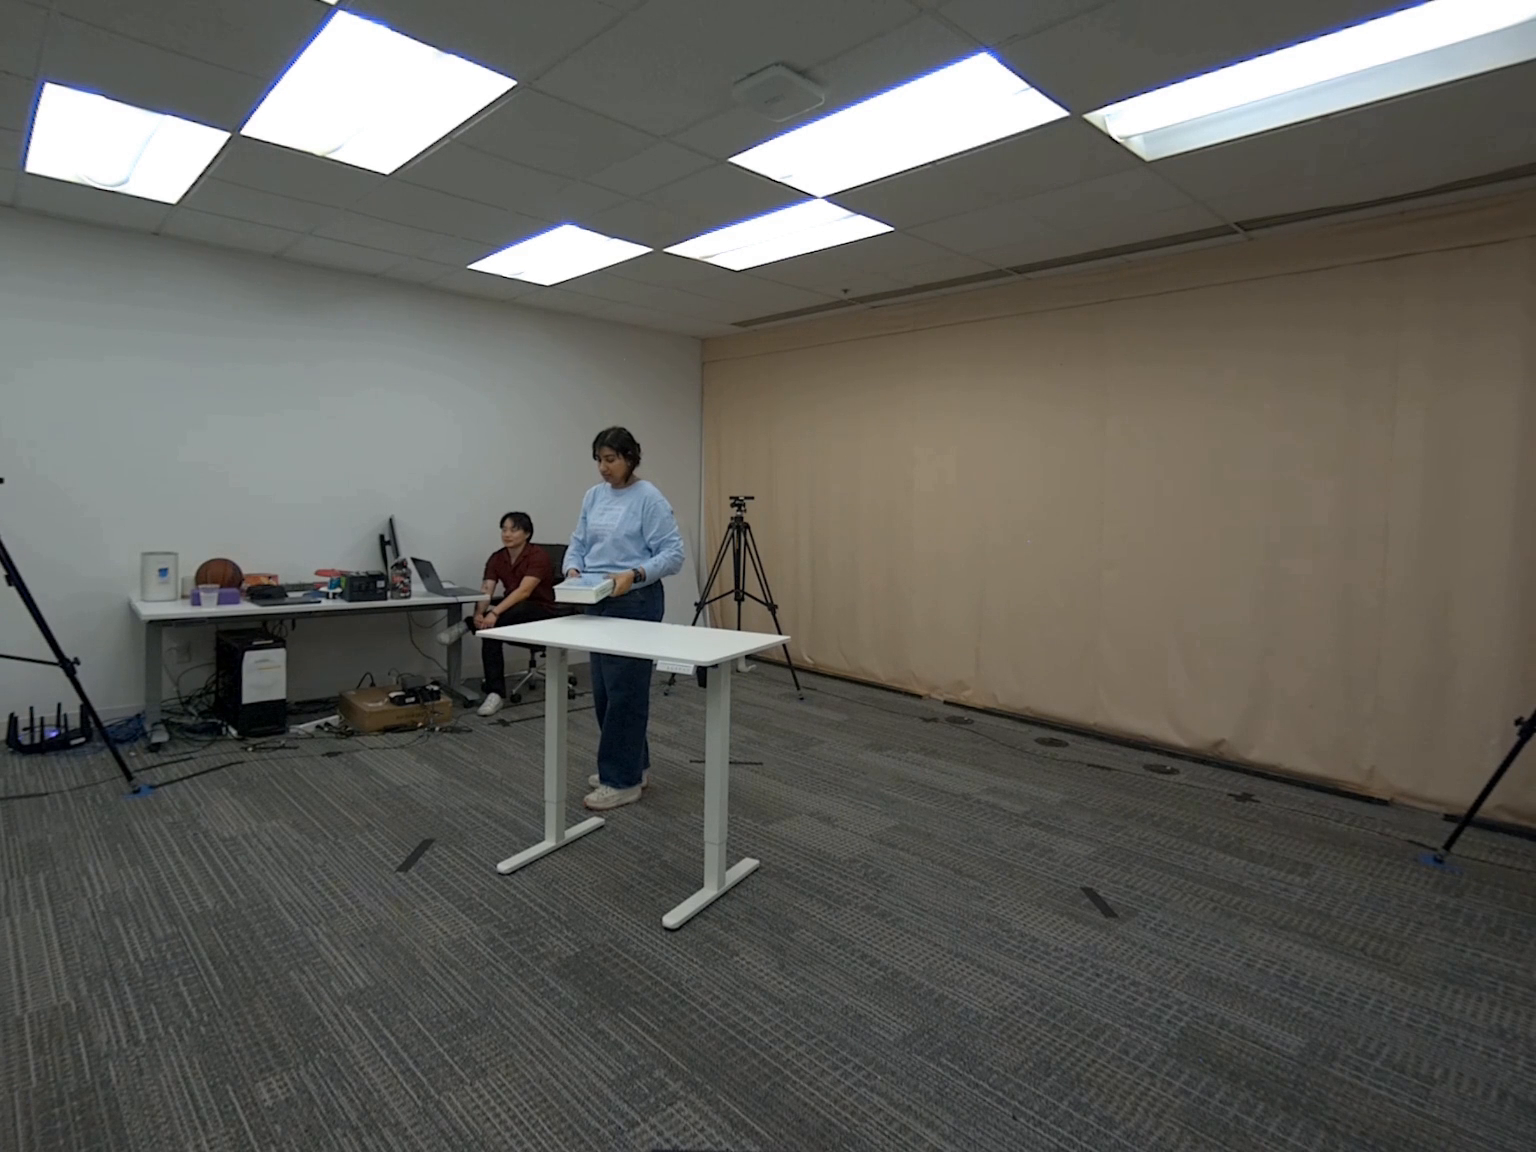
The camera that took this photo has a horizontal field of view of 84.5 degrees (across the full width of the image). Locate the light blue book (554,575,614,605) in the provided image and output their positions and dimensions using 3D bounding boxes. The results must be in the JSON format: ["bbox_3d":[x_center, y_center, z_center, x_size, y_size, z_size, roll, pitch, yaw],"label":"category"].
[{"bbox_3d":[-0.783,0.048,3.541,0.194,0.058,0.260,3,13,13],"label":"light blue book"}]
